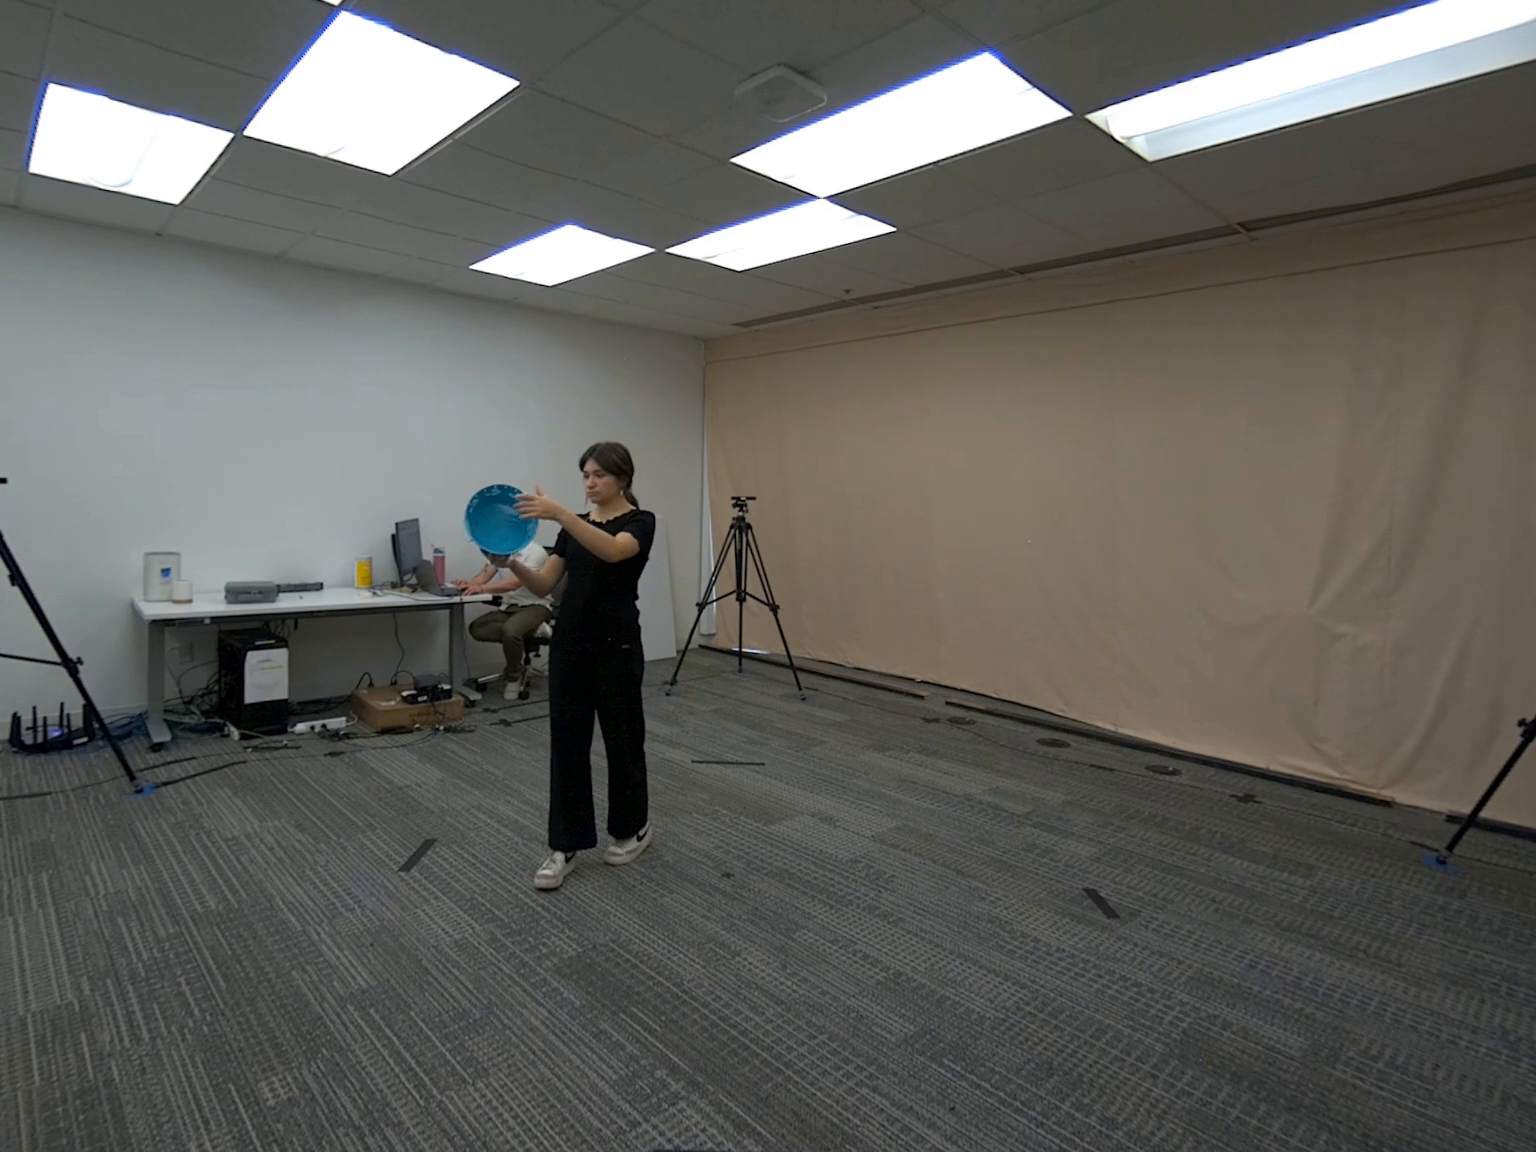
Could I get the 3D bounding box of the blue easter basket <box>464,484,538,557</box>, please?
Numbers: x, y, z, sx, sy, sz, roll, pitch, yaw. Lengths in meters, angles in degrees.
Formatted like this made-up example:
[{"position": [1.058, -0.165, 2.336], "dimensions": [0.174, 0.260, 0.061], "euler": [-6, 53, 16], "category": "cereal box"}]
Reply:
[{"position": [-0.886, -0.180, 2.788], "dimensions": [0.240, 0.245, 0.157], "euler": [0, -8, -20], "category": "blue easter basket"}]
